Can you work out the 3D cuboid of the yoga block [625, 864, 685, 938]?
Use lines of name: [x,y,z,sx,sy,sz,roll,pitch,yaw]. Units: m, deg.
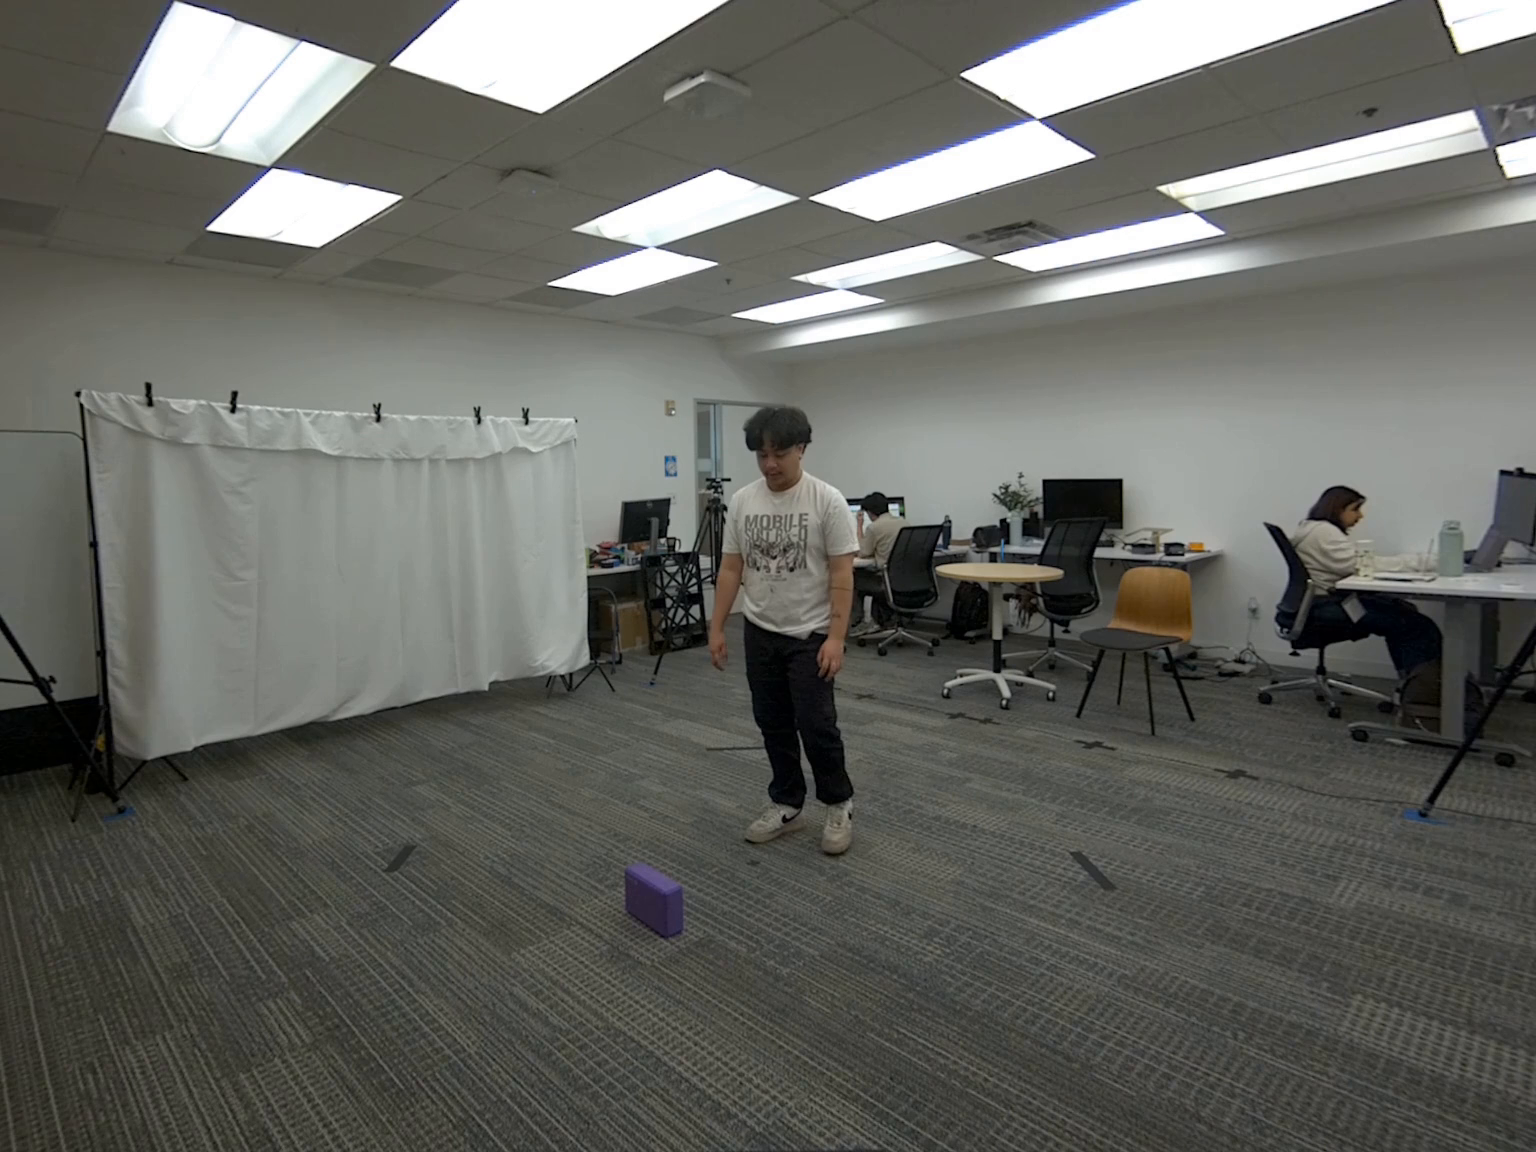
yoga block: [-0.358,1.021,2.702,0.074,0.148,0.236,-5,7,-41]
